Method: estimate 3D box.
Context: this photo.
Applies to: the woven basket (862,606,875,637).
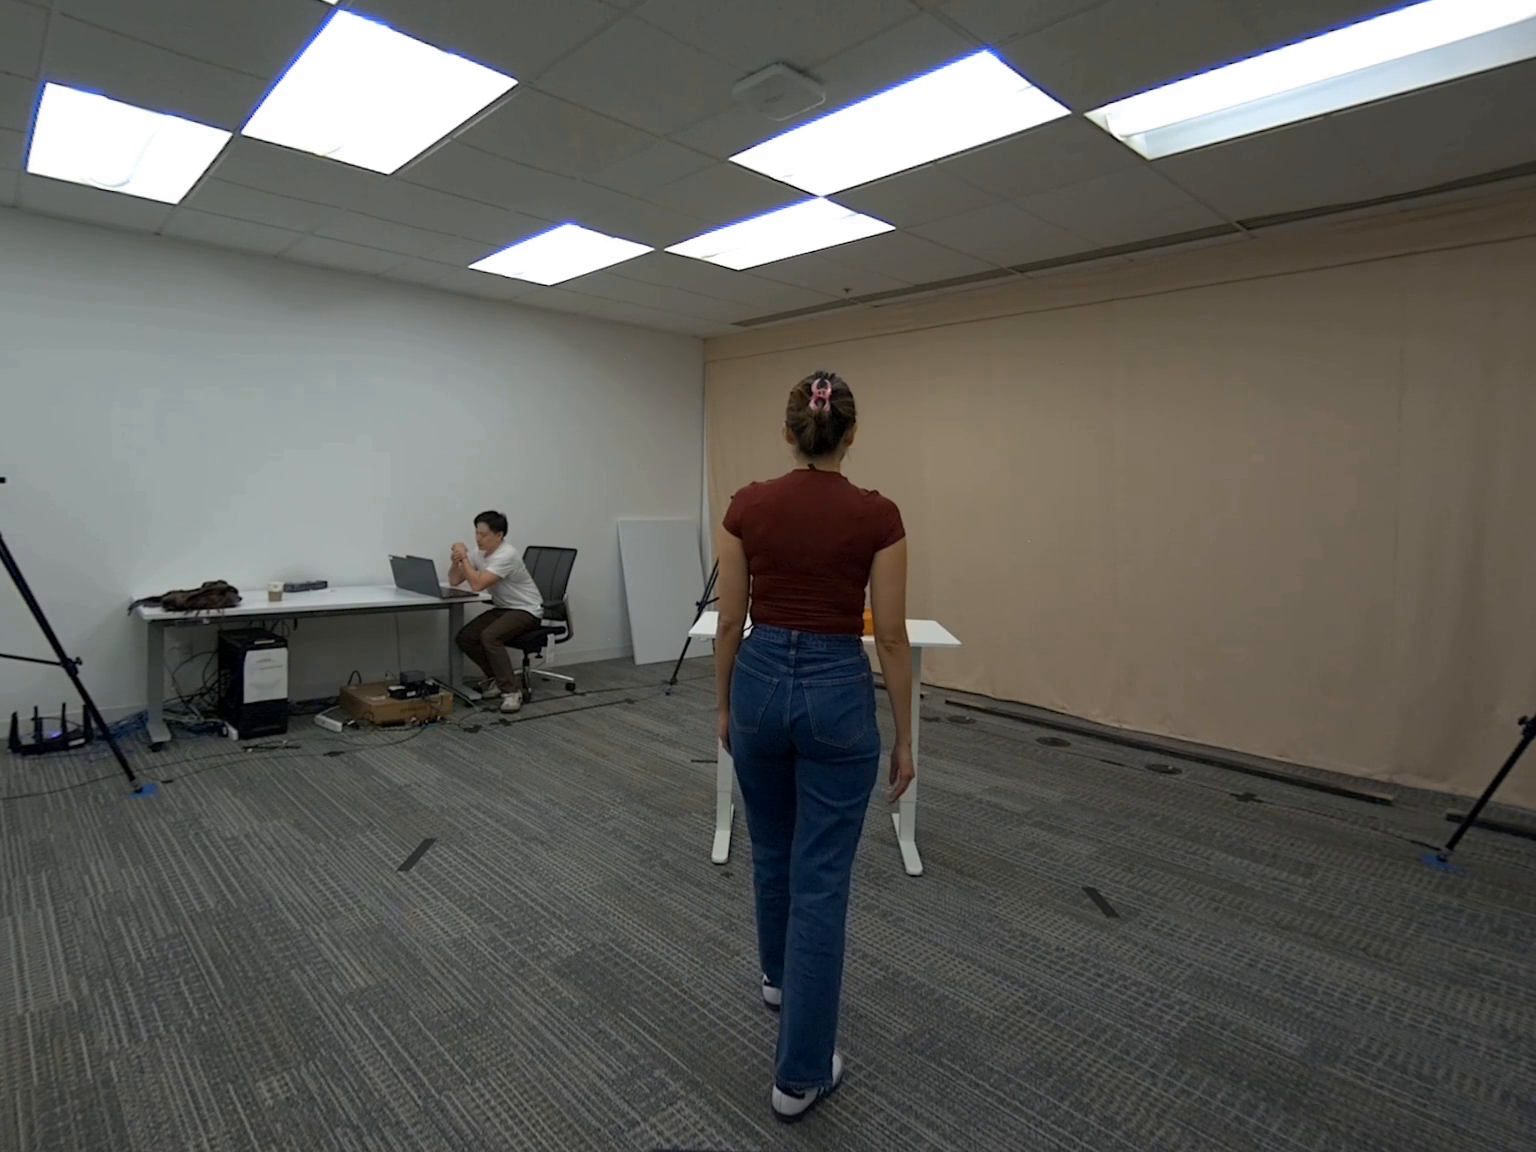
[{"bbox_3d":[0.351,0.182,3.337,0.252,0.073,0.352,2,5,-3],"label":"woven basket"}]
